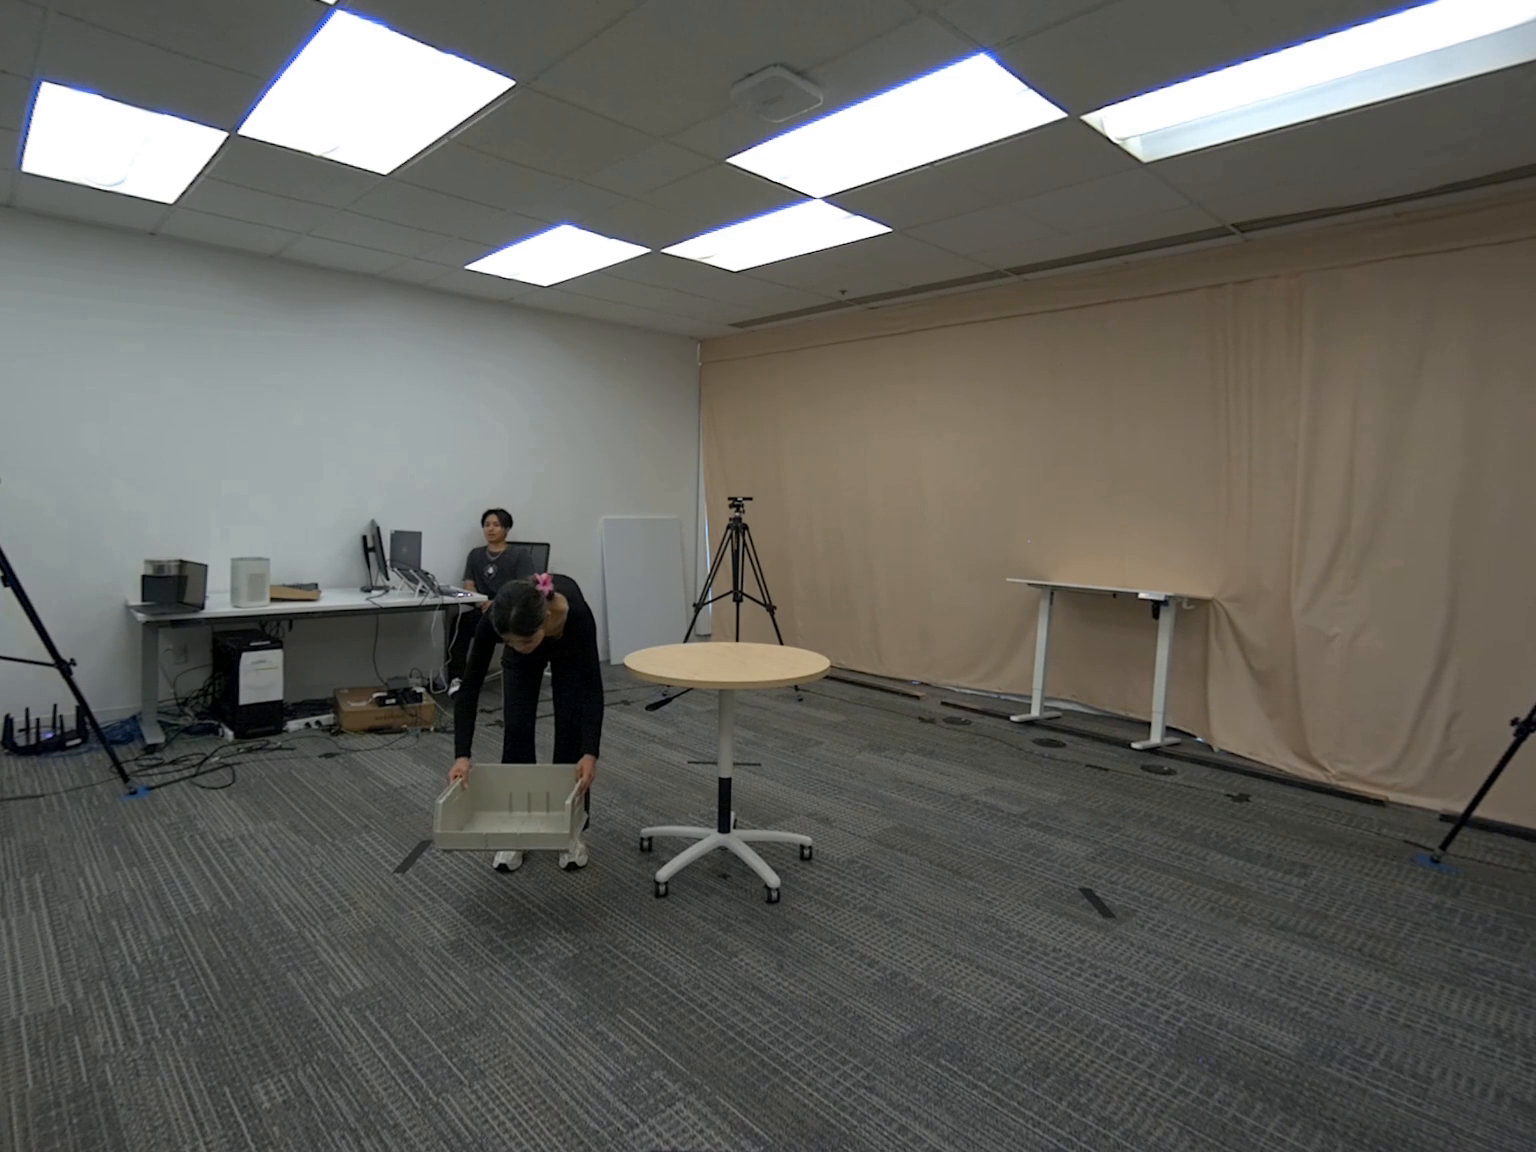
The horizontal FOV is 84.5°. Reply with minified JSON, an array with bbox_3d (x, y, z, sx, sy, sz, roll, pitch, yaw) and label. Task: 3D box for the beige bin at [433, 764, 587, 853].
[{"bbox_3d":[-0.830,0.778,2.756,0.422,0.188,0.379,-1,5,-2],"label":"beige bin"}]
